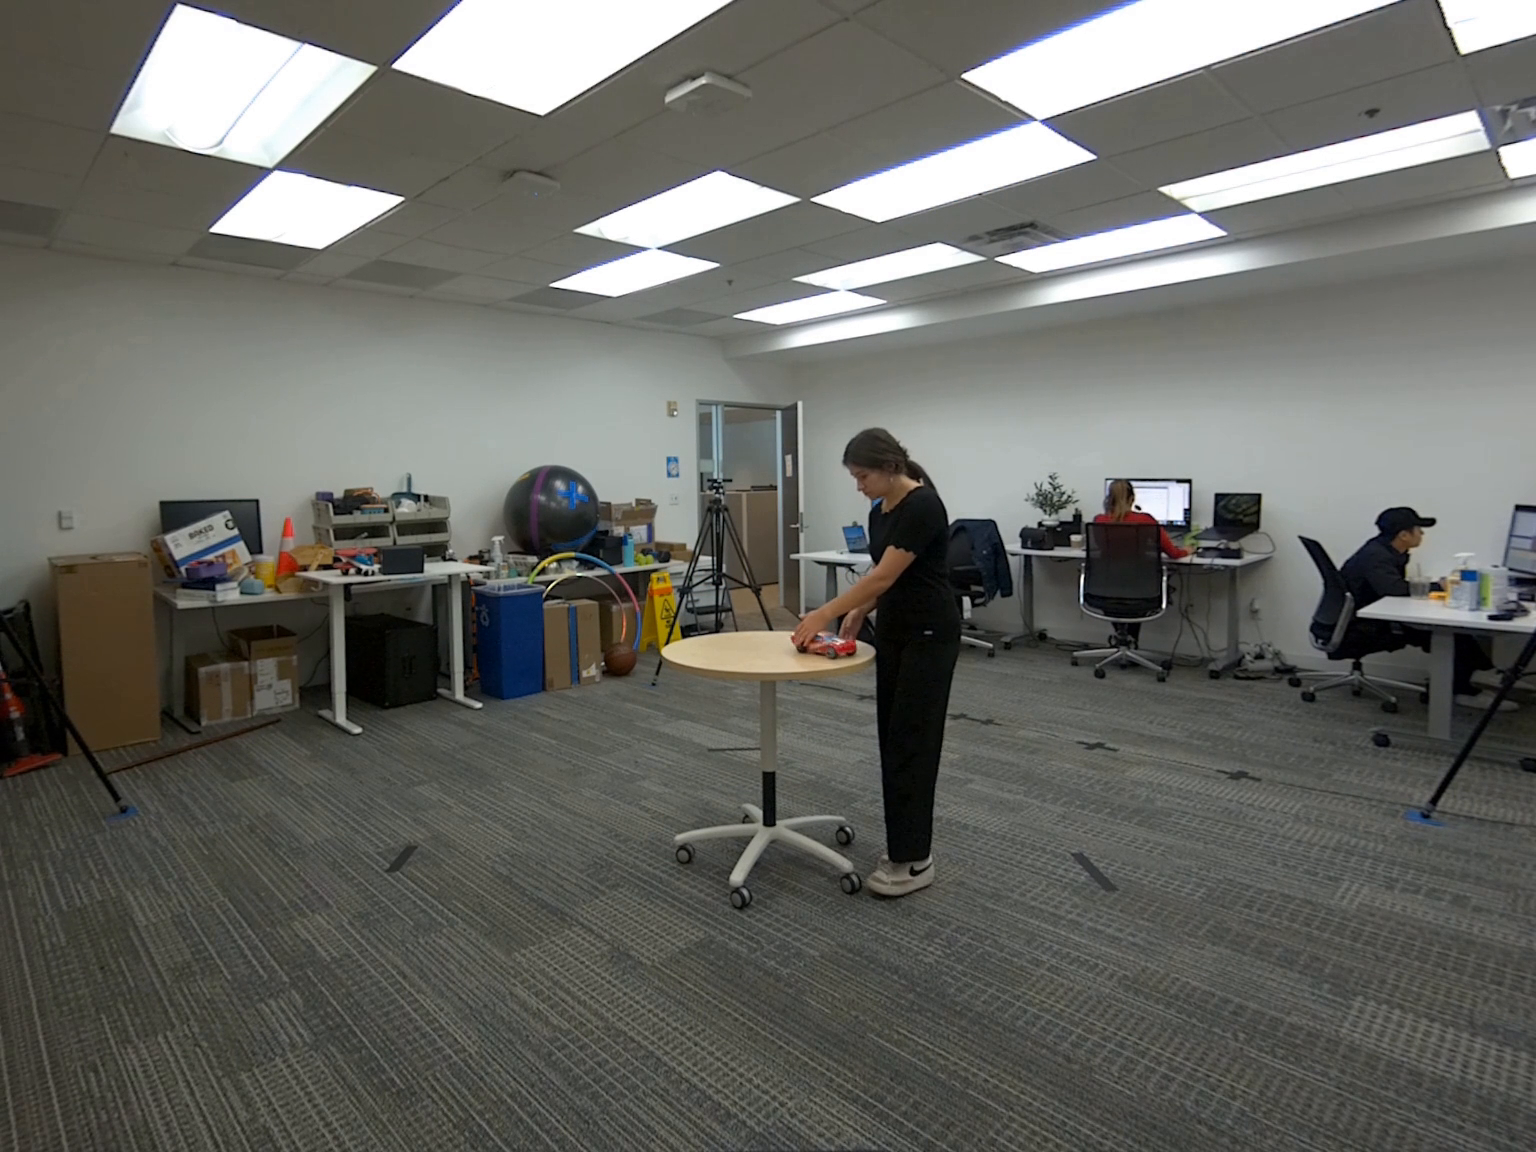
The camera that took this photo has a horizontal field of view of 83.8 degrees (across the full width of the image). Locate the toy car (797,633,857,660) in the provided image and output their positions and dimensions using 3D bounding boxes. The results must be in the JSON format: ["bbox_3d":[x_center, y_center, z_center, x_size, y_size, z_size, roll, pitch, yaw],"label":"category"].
[{"bbox_3d":[0.188,0.241,2.998,0.127,0.082,0.264,-5,17,-39],"label":"toy car"}]
